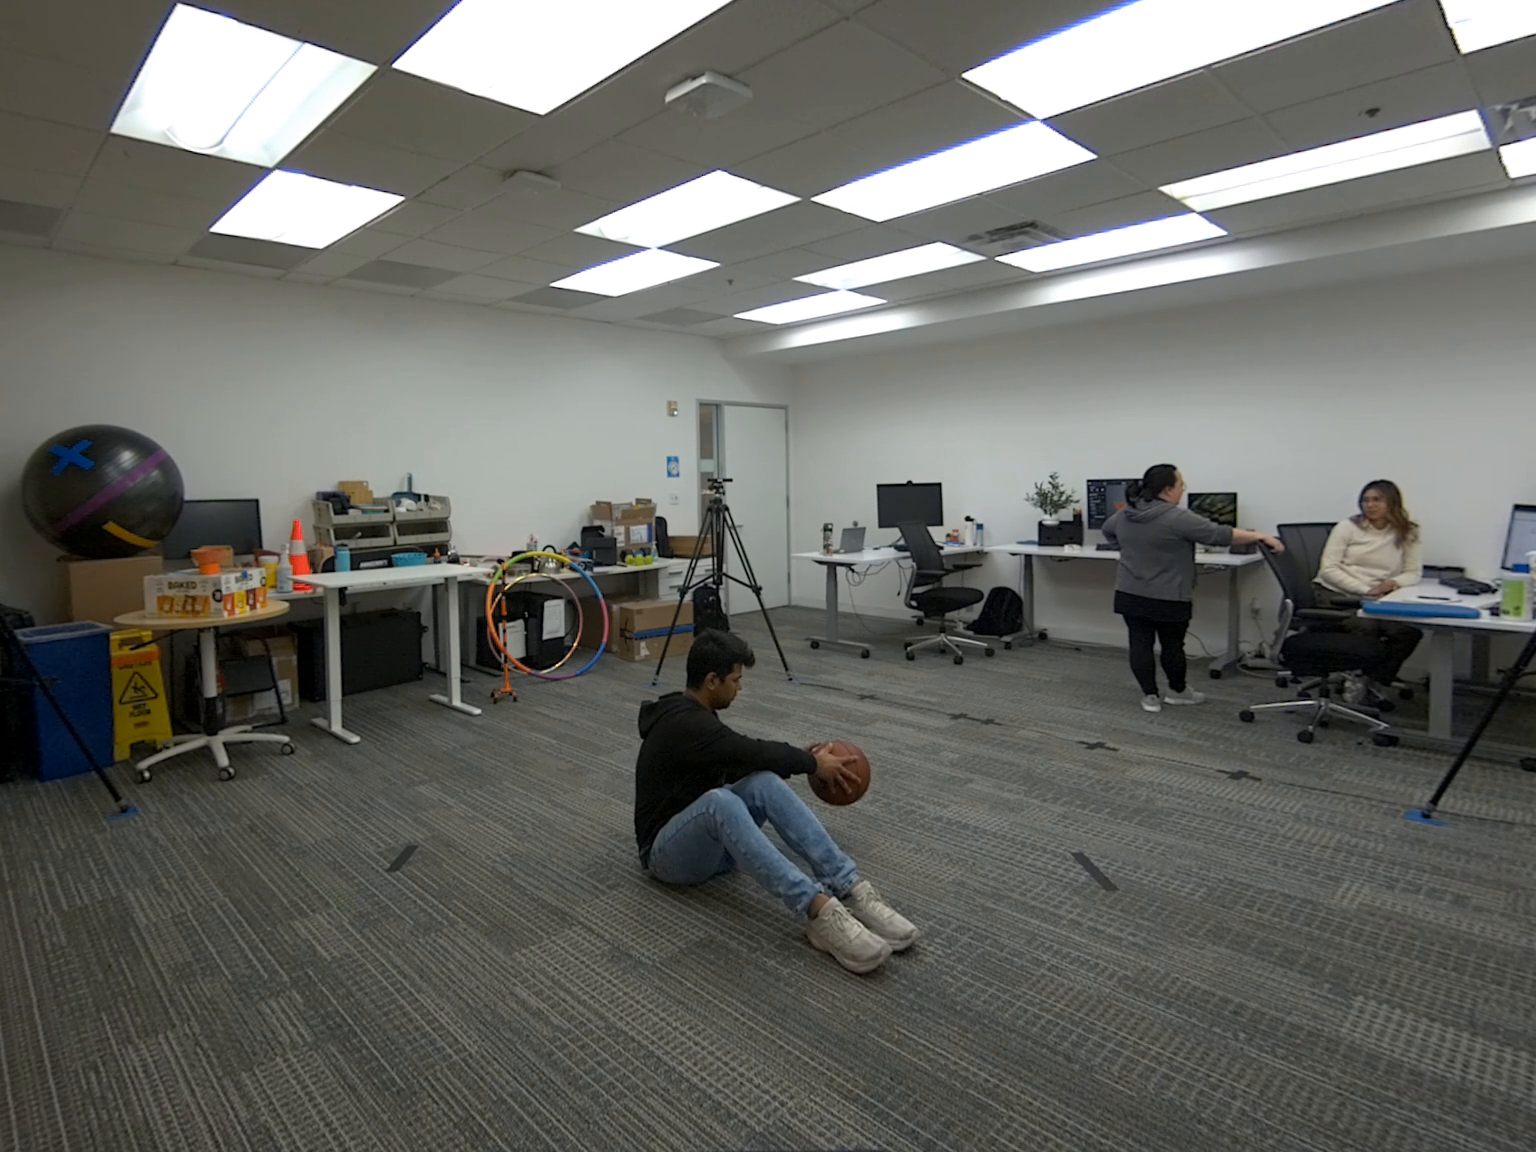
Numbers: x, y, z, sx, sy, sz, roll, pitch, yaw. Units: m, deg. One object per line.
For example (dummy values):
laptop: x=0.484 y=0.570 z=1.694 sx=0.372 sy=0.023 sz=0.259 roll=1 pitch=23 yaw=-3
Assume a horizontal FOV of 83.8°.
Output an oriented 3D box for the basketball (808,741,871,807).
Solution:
basketball: x=0.263 y=0.737 z=3.217 sx=0.236 sy=0.235 sz=0.237 roll=-1 pitch=5 yaw=-2
